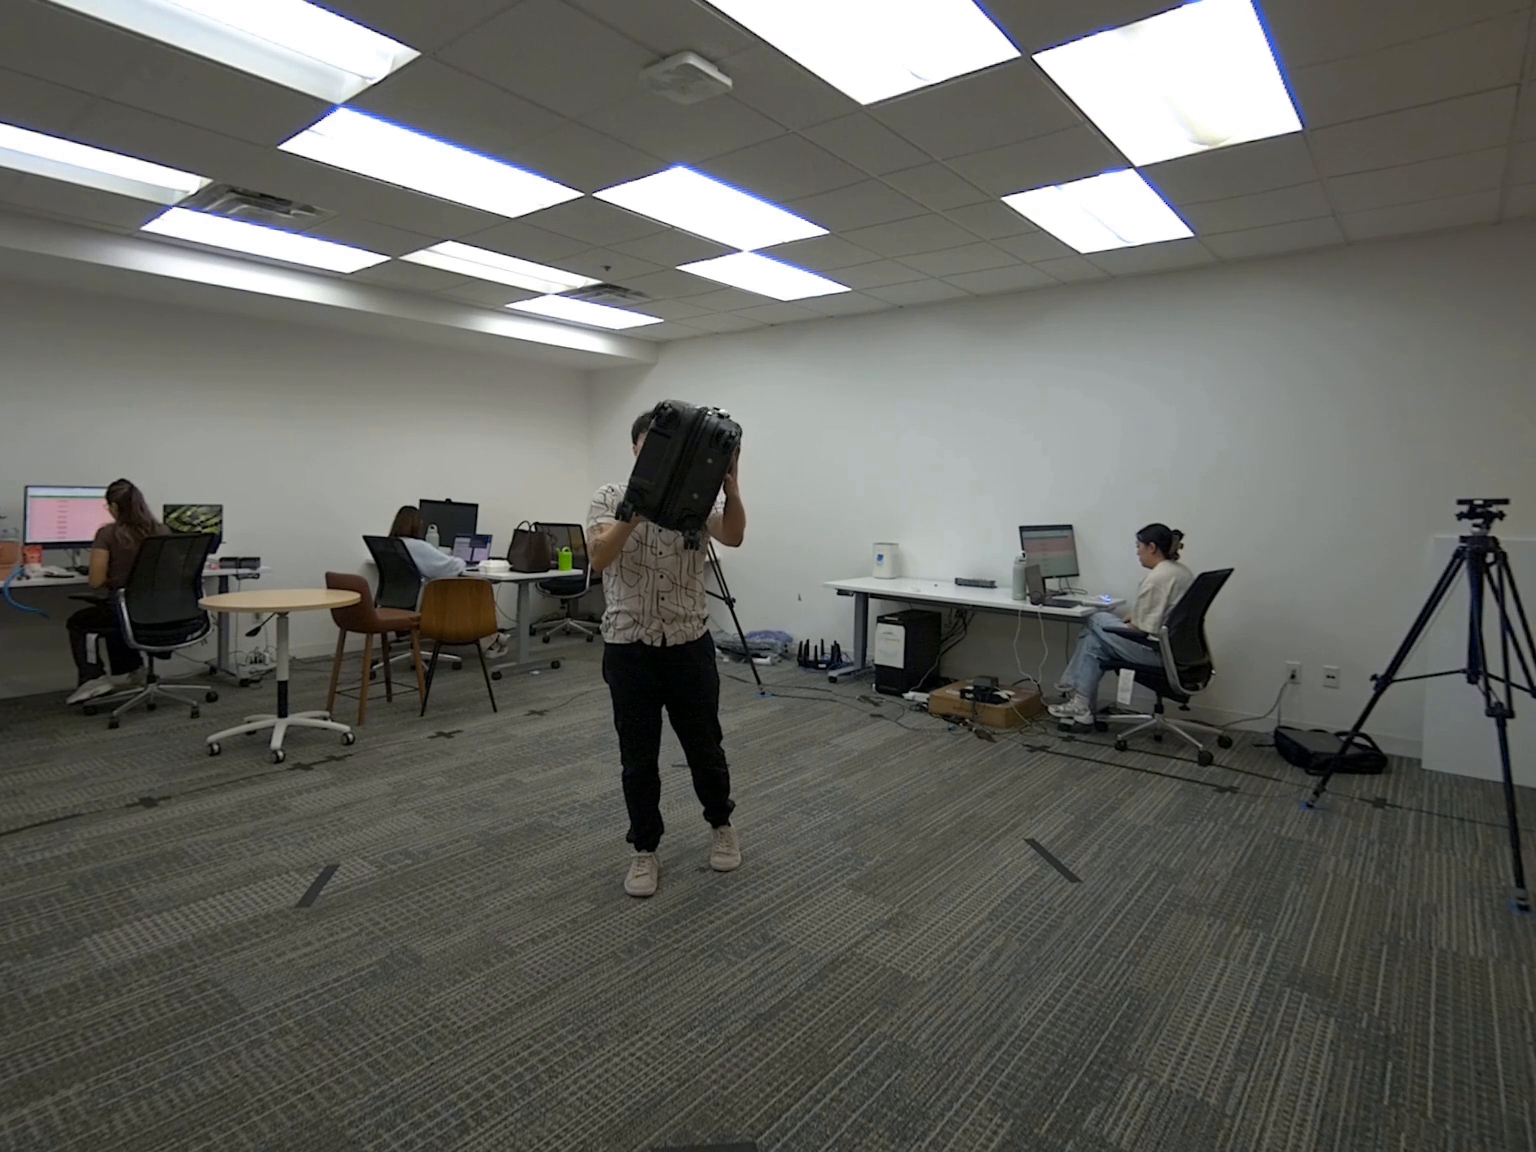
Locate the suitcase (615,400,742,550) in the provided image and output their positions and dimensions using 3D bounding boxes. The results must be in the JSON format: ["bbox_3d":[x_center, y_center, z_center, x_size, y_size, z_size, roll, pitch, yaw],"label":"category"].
[{"bbox_3d":[-0.253,-0.345,2.593,0.247,0.373,0.554,22,11,-4],"label":"suitcase"}]
